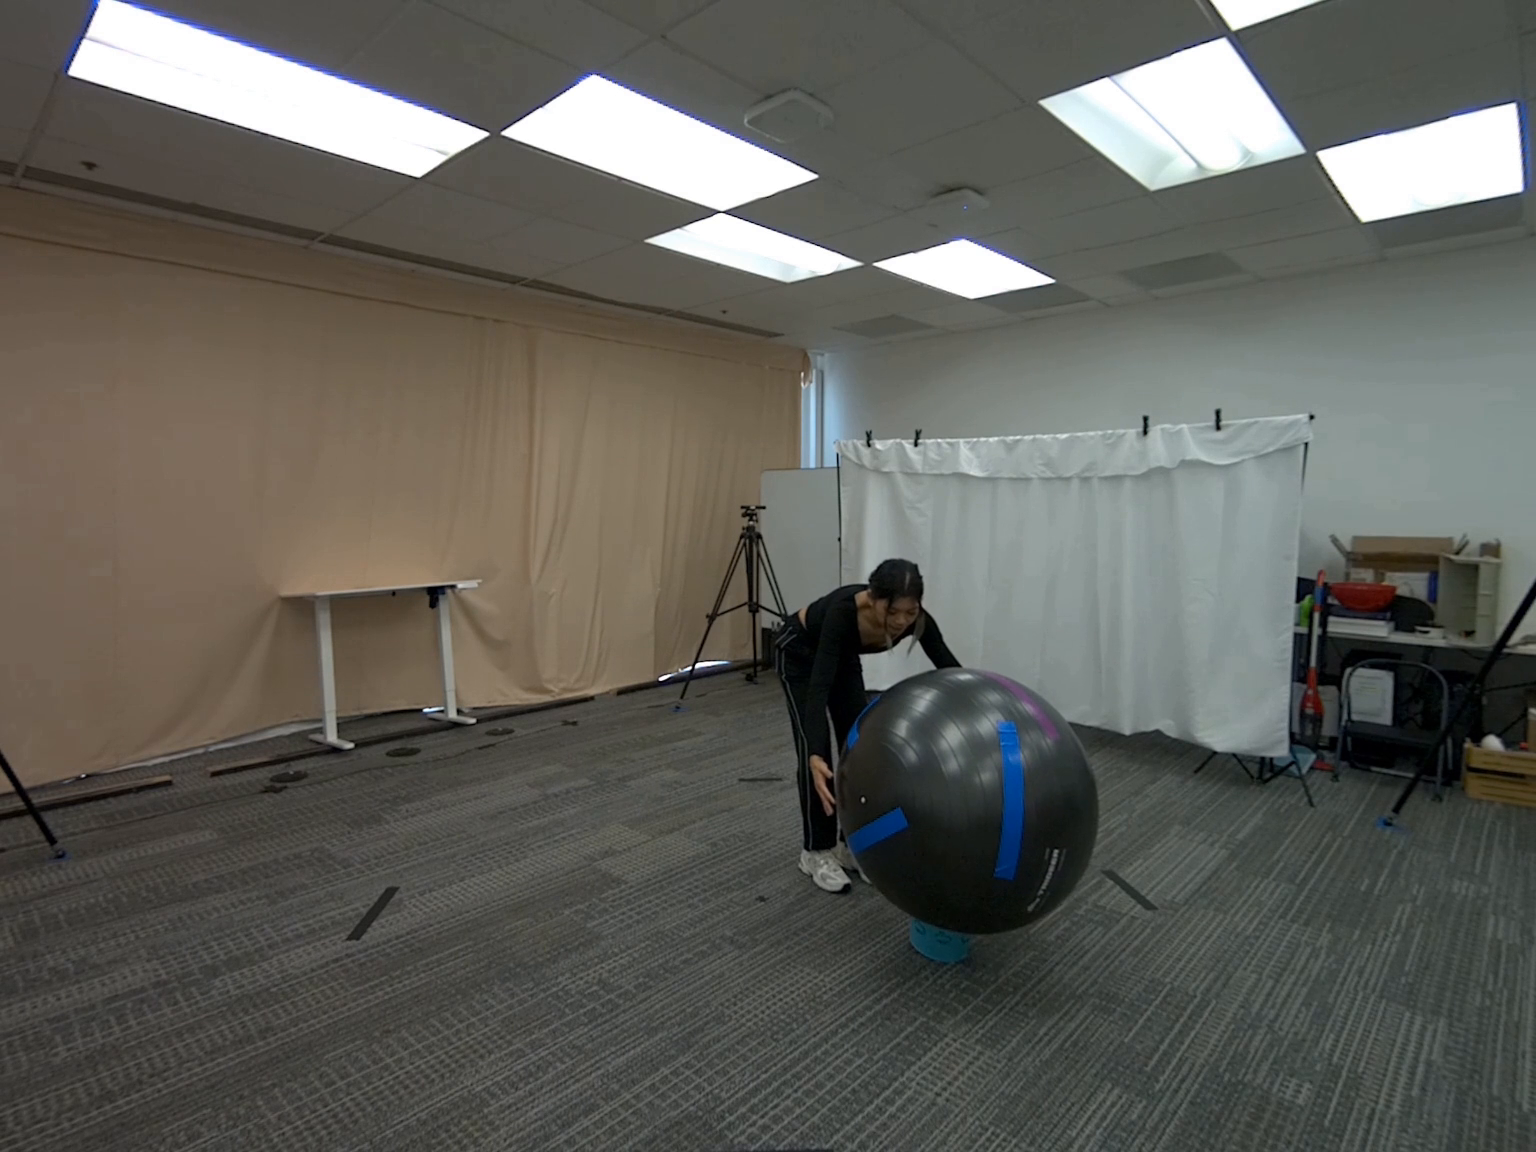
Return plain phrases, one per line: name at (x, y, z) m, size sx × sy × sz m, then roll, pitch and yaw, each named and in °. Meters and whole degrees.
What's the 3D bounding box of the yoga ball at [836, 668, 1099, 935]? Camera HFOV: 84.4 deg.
yoga ball at (0.591, 0.663, 2.536) m, size 0.757 × 0.756 × 0.760 m, roll 0°, pitch 4°, yaw -2°
